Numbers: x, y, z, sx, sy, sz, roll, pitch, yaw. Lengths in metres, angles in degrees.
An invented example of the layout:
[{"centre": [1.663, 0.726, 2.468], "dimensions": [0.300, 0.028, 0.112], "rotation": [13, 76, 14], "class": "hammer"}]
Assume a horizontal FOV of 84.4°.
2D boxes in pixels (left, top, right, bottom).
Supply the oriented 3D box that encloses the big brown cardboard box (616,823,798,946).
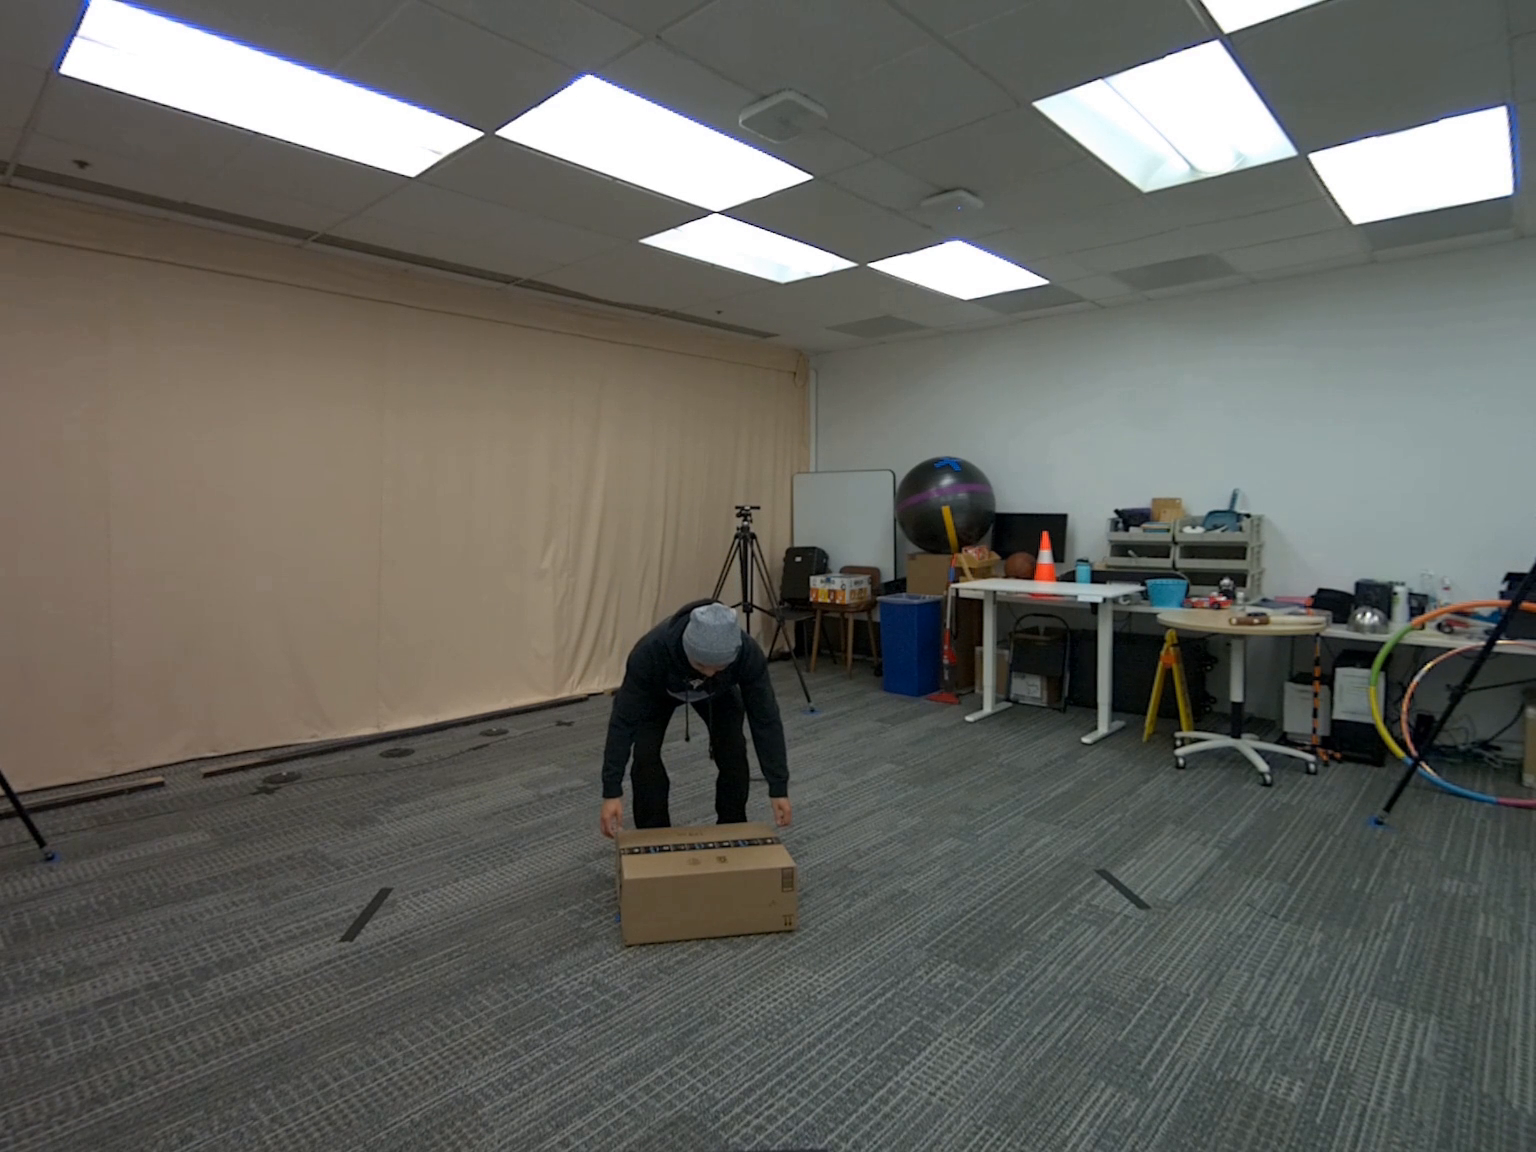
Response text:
[{"centre": [-0.227, 1.043, 2.898], "dimensions": [0.583, 0.233, 0.423], "rotation": [-2, 4, -10], "class": "big brown cardboard box"}]
